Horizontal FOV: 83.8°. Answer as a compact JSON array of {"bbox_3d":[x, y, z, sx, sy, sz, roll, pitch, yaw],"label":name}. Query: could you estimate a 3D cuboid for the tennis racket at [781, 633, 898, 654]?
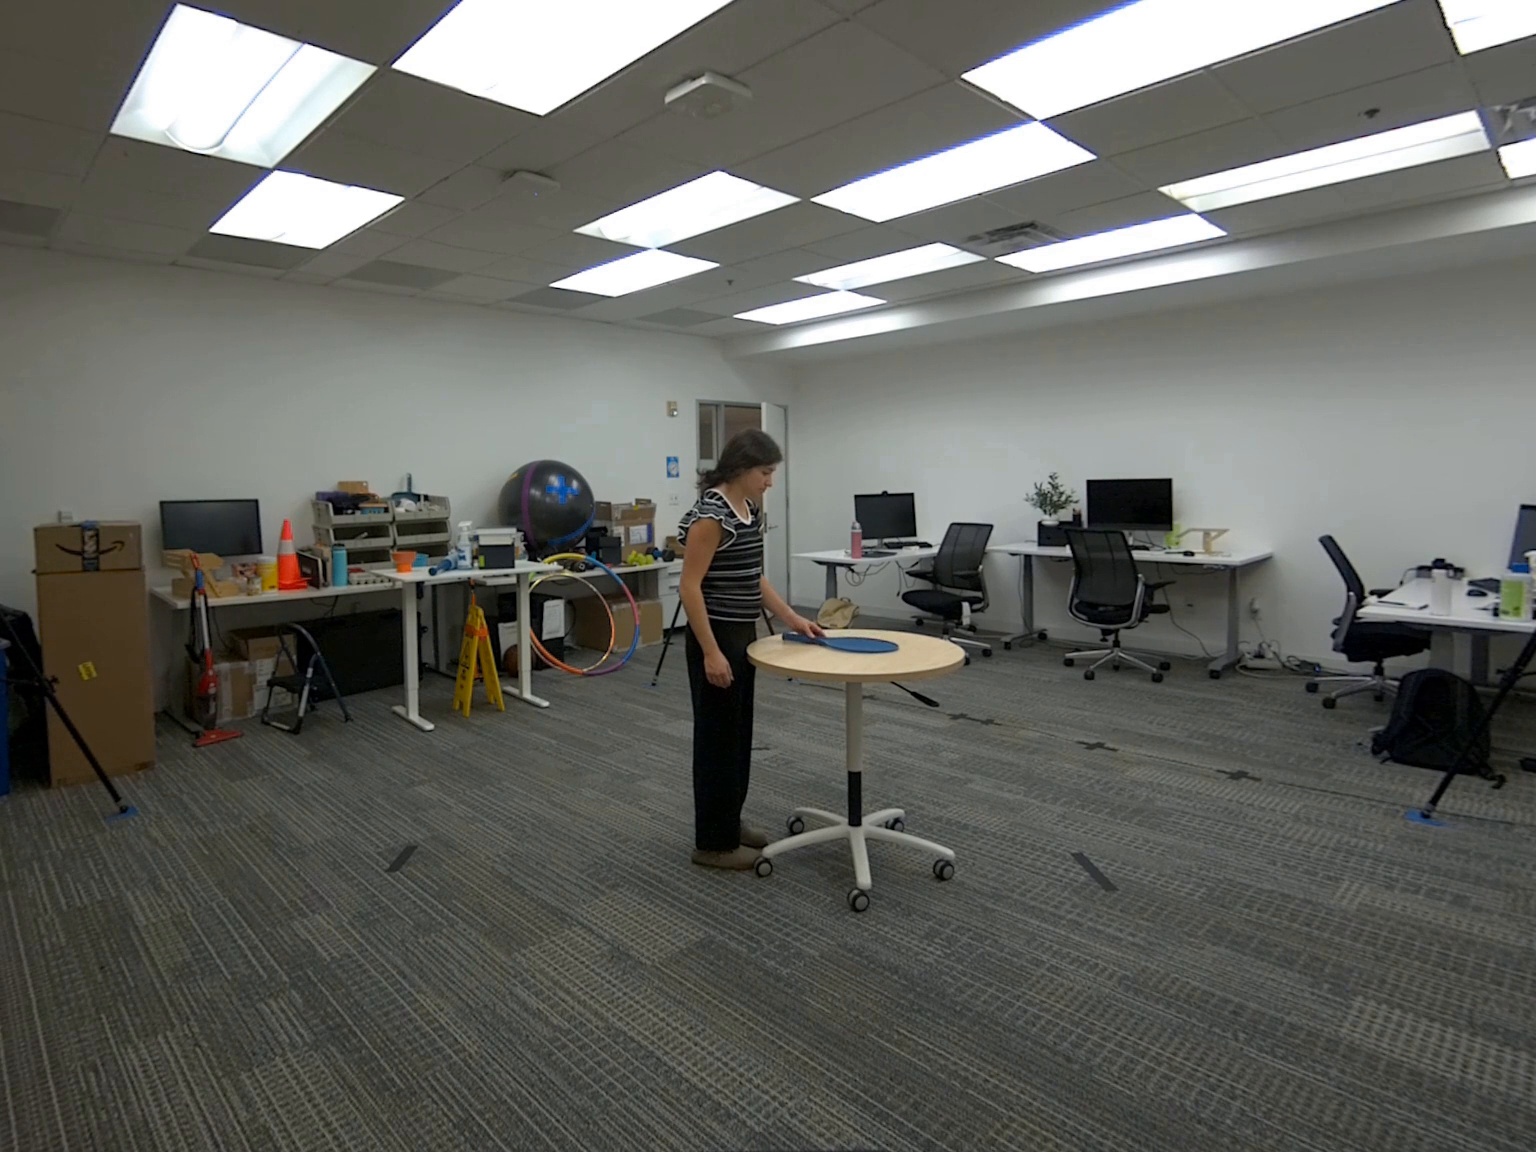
[{"bbox_3d":[0.261,0.243,3.108,0.441,0.031,0.211,3,8,20],"label":"tennis racket"}]
